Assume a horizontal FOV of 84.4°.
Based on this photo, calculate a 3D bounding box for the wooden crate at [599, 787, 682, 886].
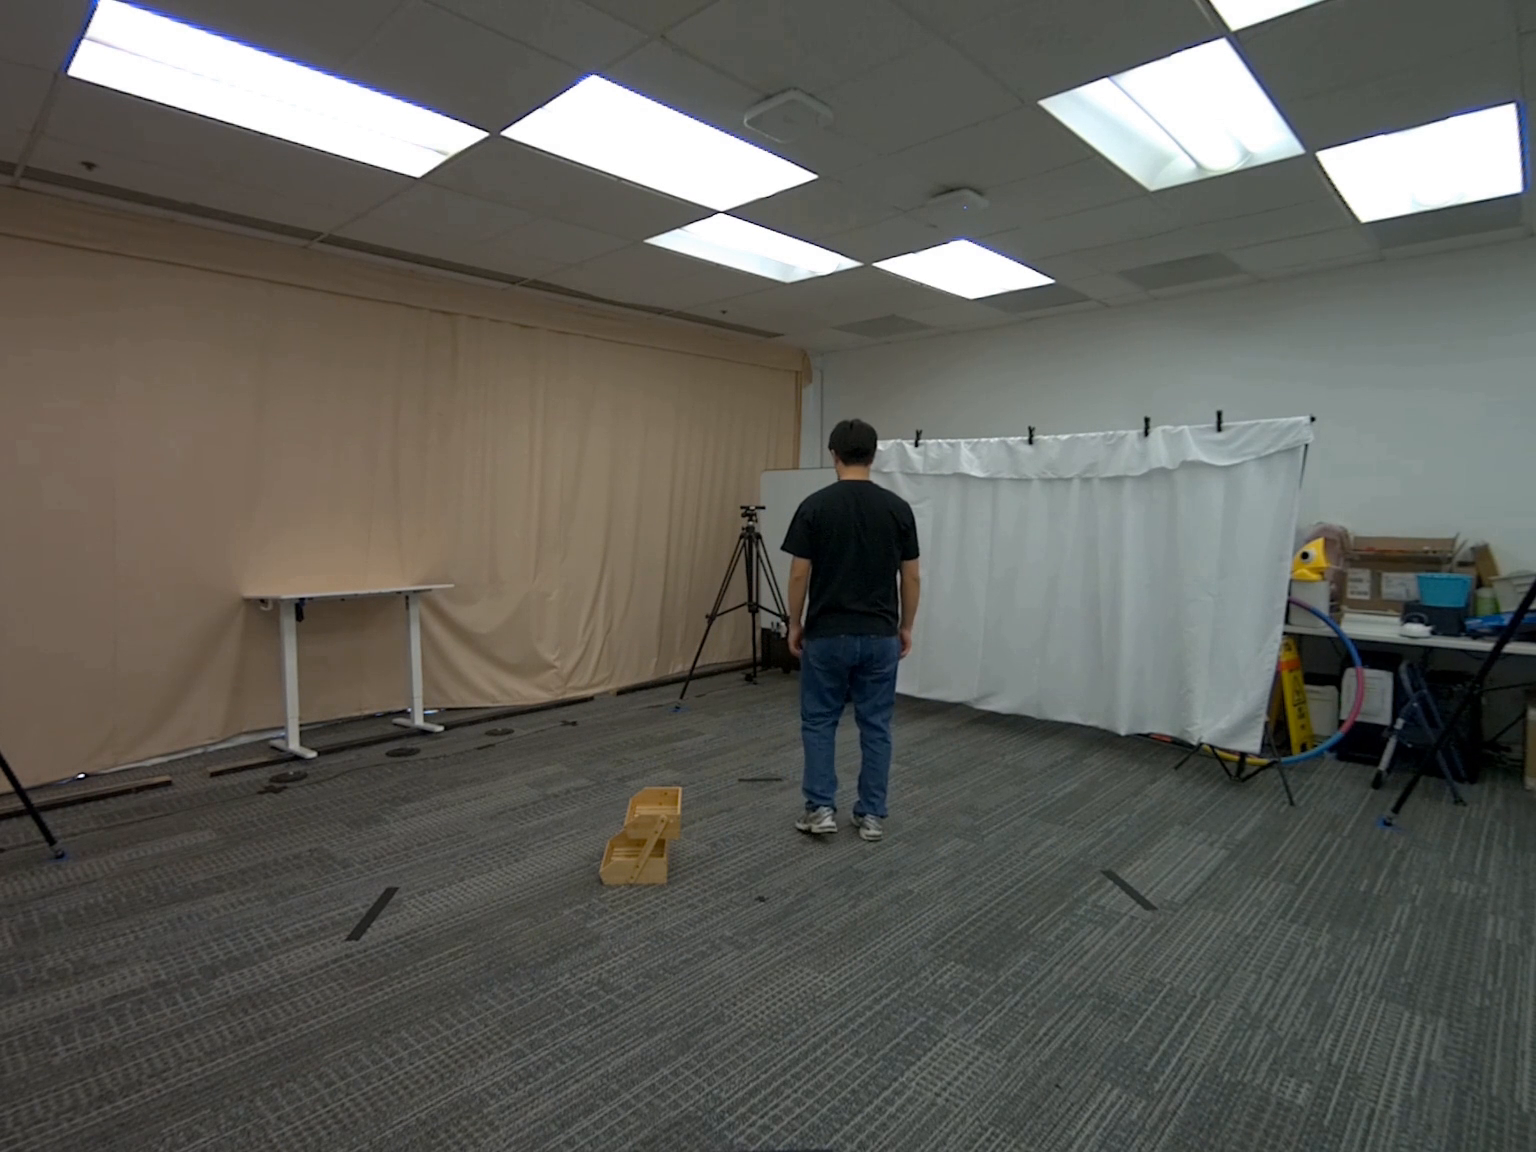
[{"bbox_3d":[-0.494,0.992,3.251,0.301,0.272,0.326,-2,4,-3],"label":"wooden crate"}]
